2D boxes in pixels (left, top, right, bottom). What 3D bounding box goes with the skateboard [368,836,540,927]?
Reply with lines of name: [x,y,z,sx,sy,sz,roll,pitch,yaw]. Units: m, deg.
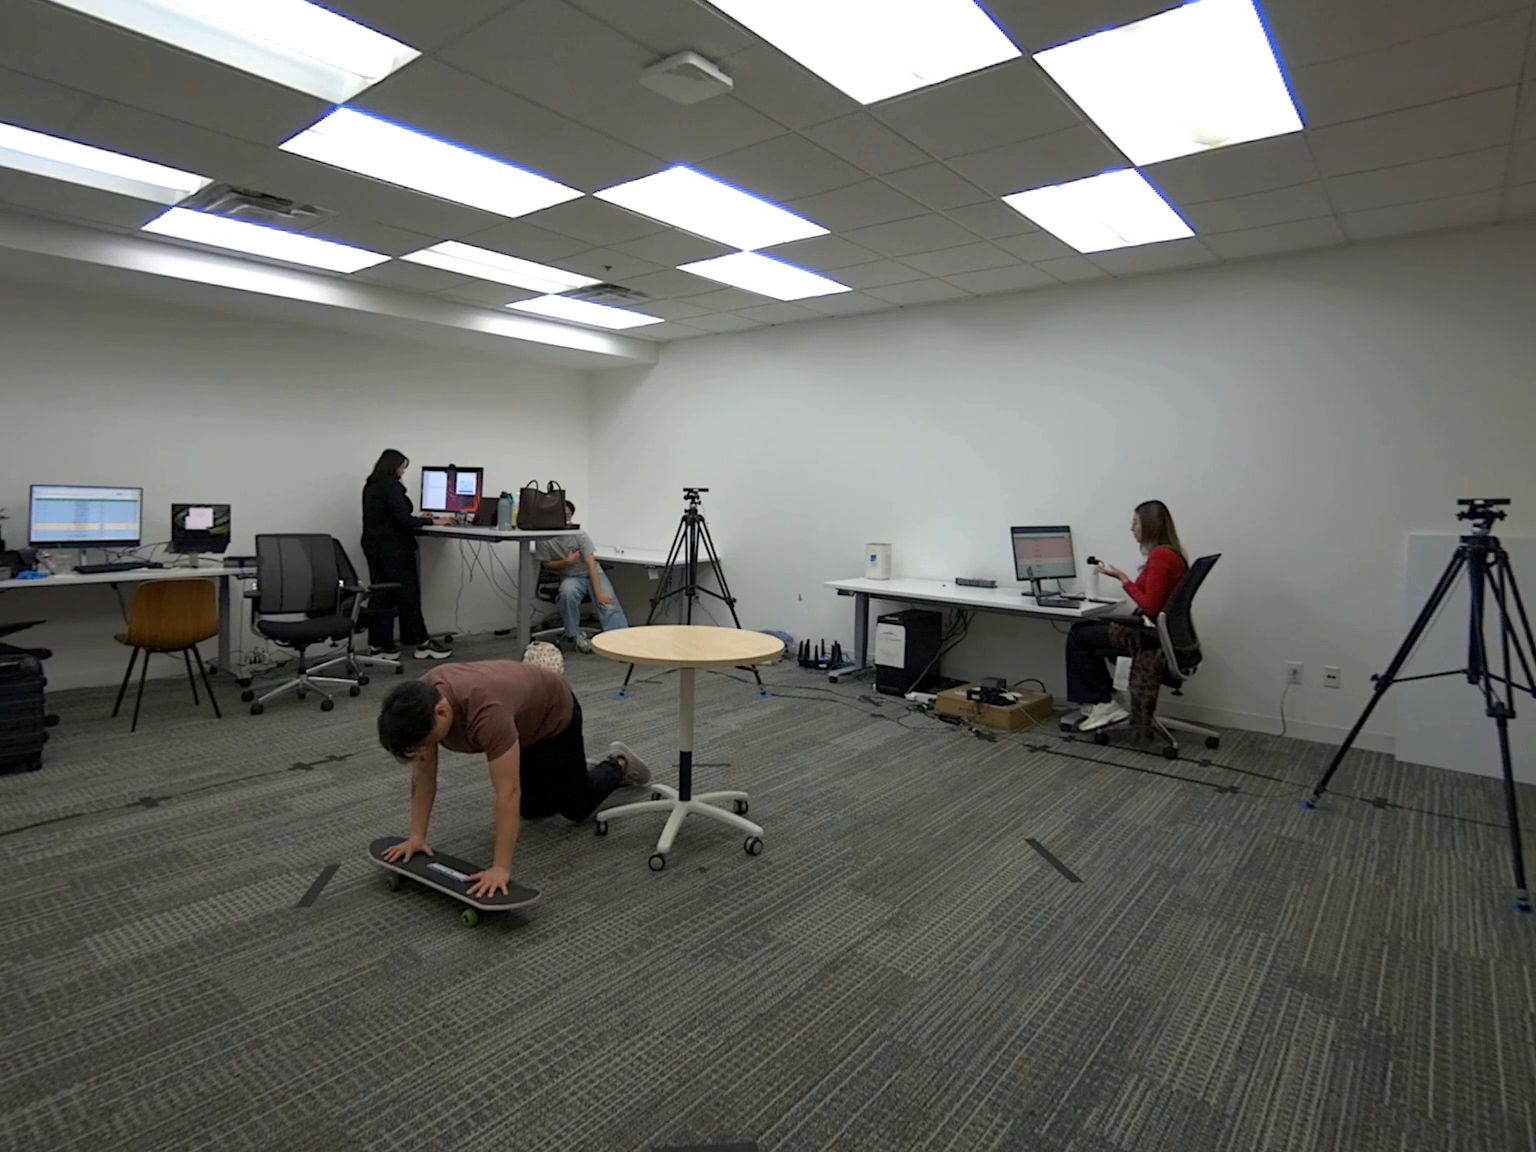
skateboard: [-1.079,1.020,2.858,0.810,0.110,0.188,4,4,34]
